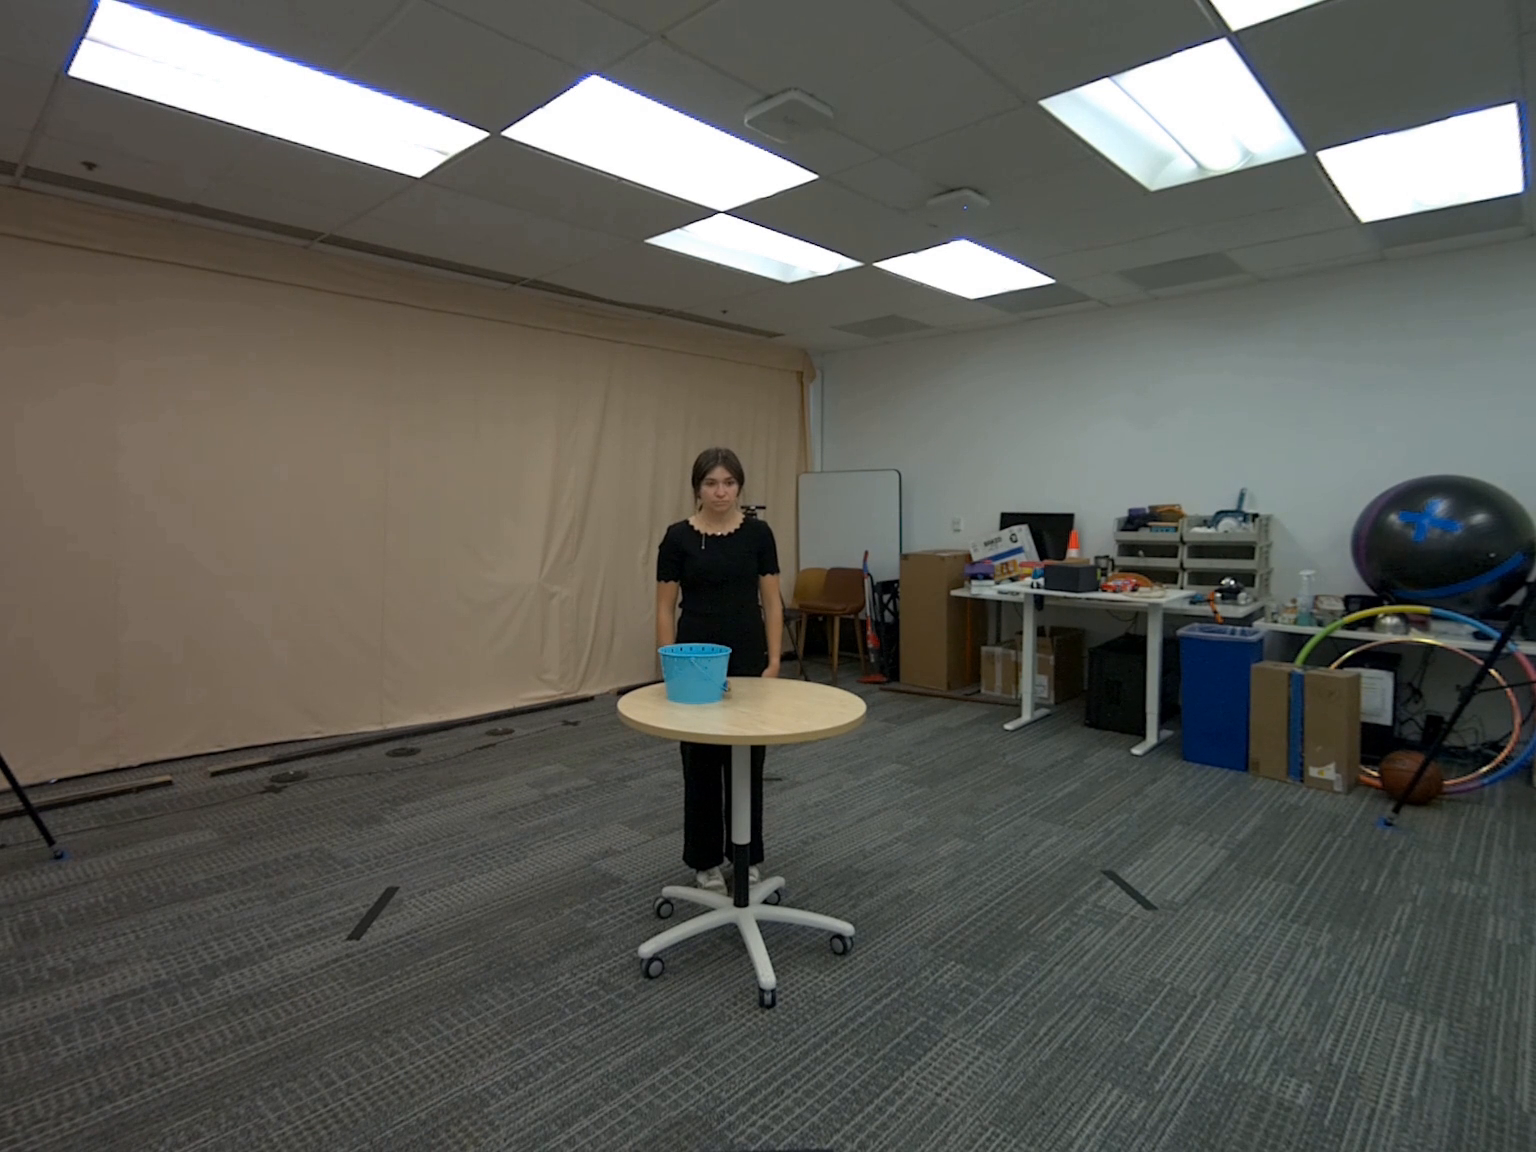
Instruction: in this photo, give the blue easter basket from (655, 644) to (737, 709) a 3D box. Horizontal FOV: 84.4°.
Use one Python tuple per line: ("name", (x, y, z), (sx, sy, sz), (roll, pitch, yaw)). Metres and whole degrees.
("blue easter basket", (-0.226, 0.308, 2.670), (0.243, 0.155, 0.244), (-1, 4, -2))
